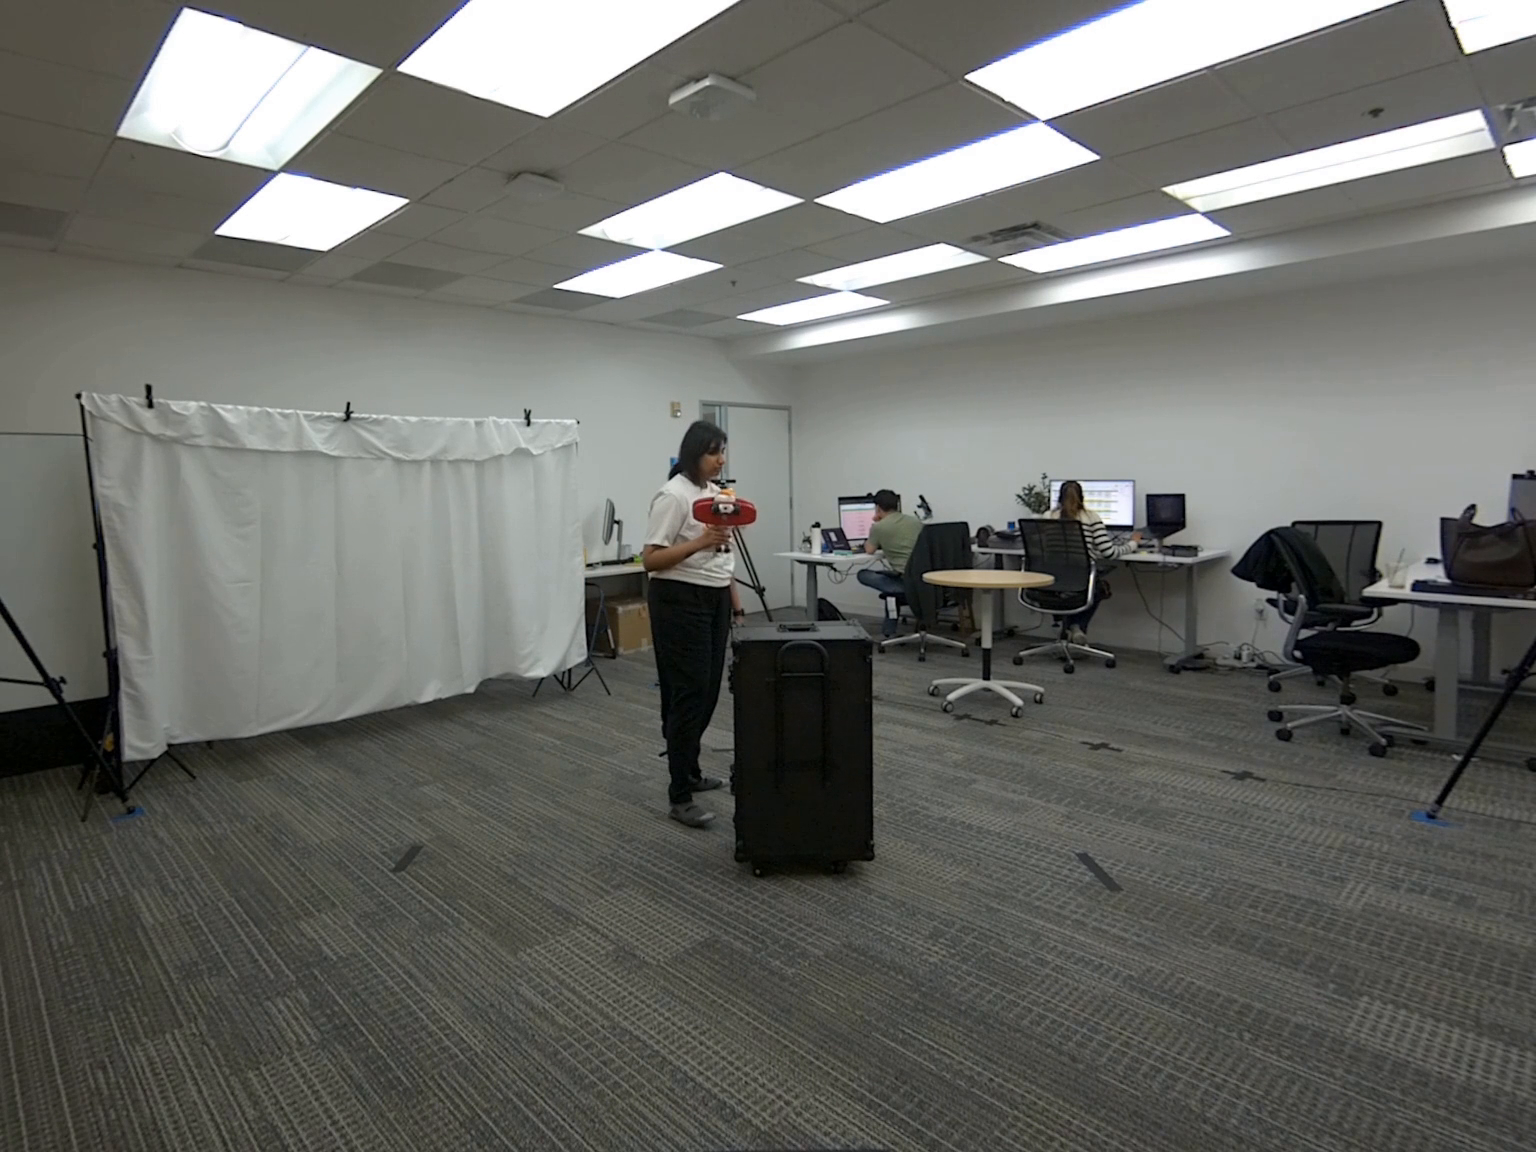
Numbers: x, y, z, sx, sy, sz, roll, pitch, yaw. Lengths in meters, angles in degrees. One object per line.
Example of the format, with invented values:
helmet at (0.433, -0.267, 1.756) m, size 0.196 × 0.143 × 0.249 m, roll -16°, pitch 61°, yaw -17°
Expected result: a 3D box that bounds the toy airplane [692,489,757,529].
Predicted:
toy airplane at (-0.192, -0.221, 3.453) m, size 0.246 × 0.258 × 0.160 m, roll 27°, pitch 24°, yaw -17°
